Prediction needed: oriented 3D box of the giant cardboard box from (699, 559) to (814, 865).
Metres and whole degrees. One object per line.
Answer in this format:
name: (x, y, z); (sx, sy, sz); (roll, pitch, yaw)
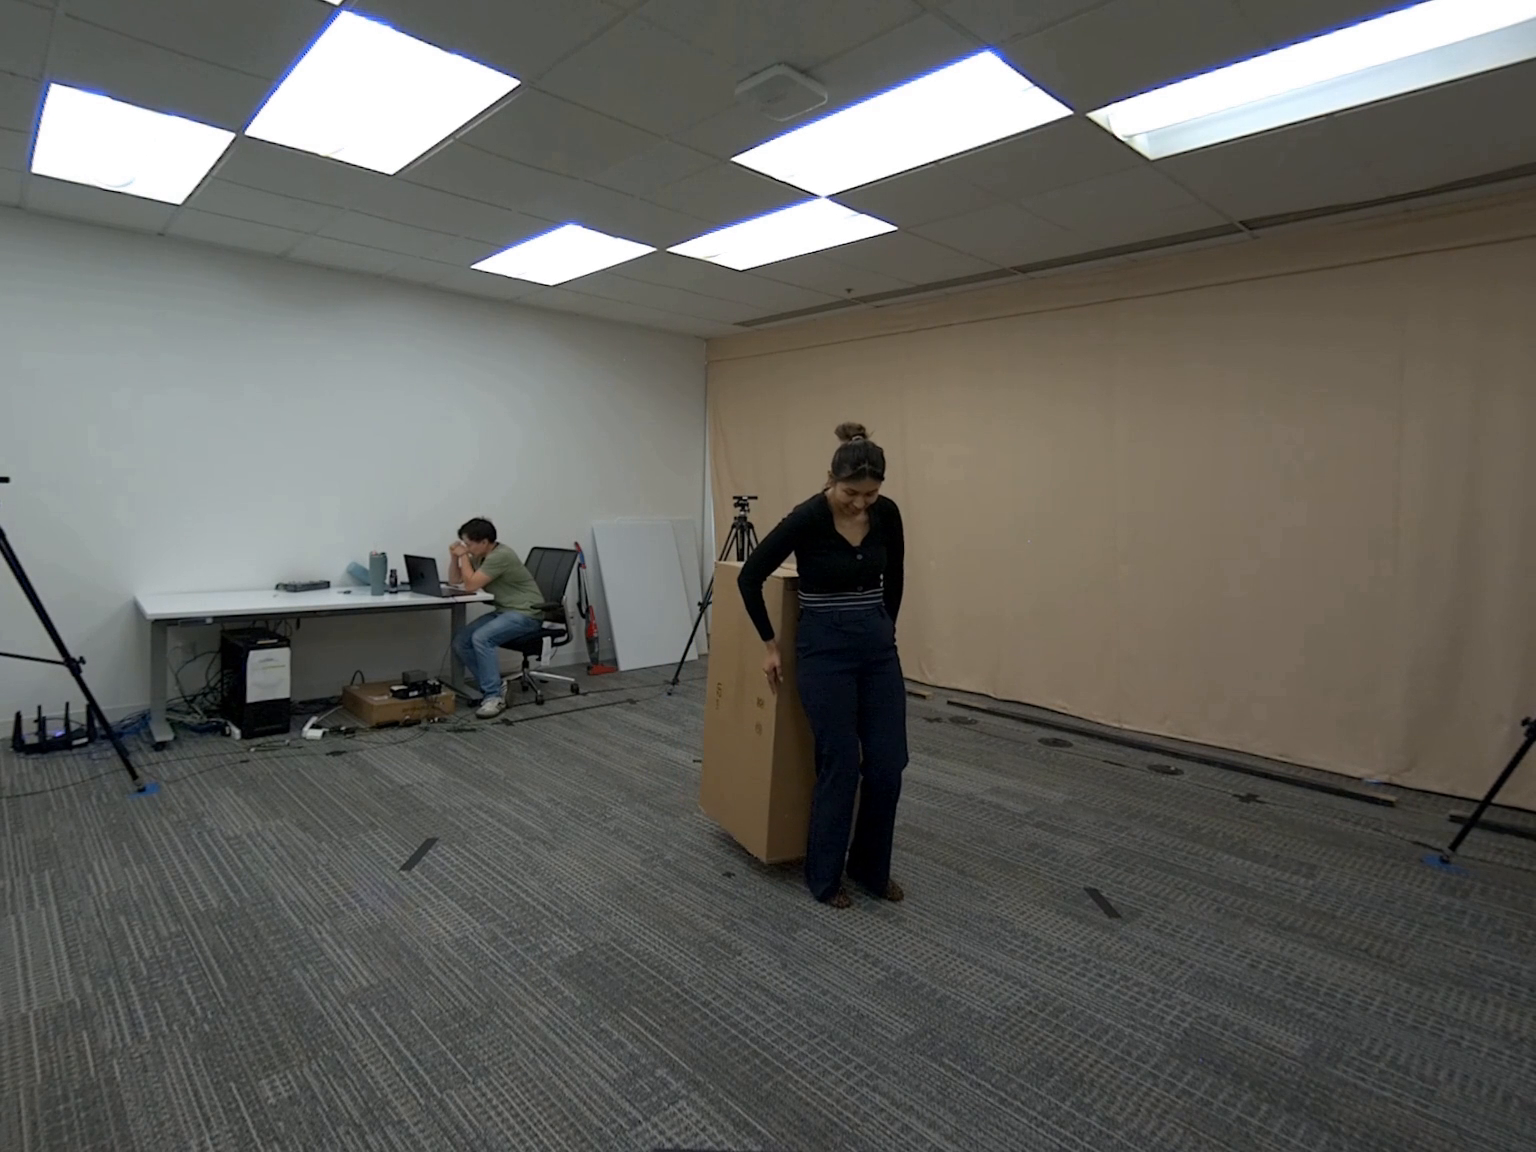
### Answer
giant cardboard box: (0.057, 0.484, 3.309); (0.417, 1.024, 0.590); (3, 3, -28)
